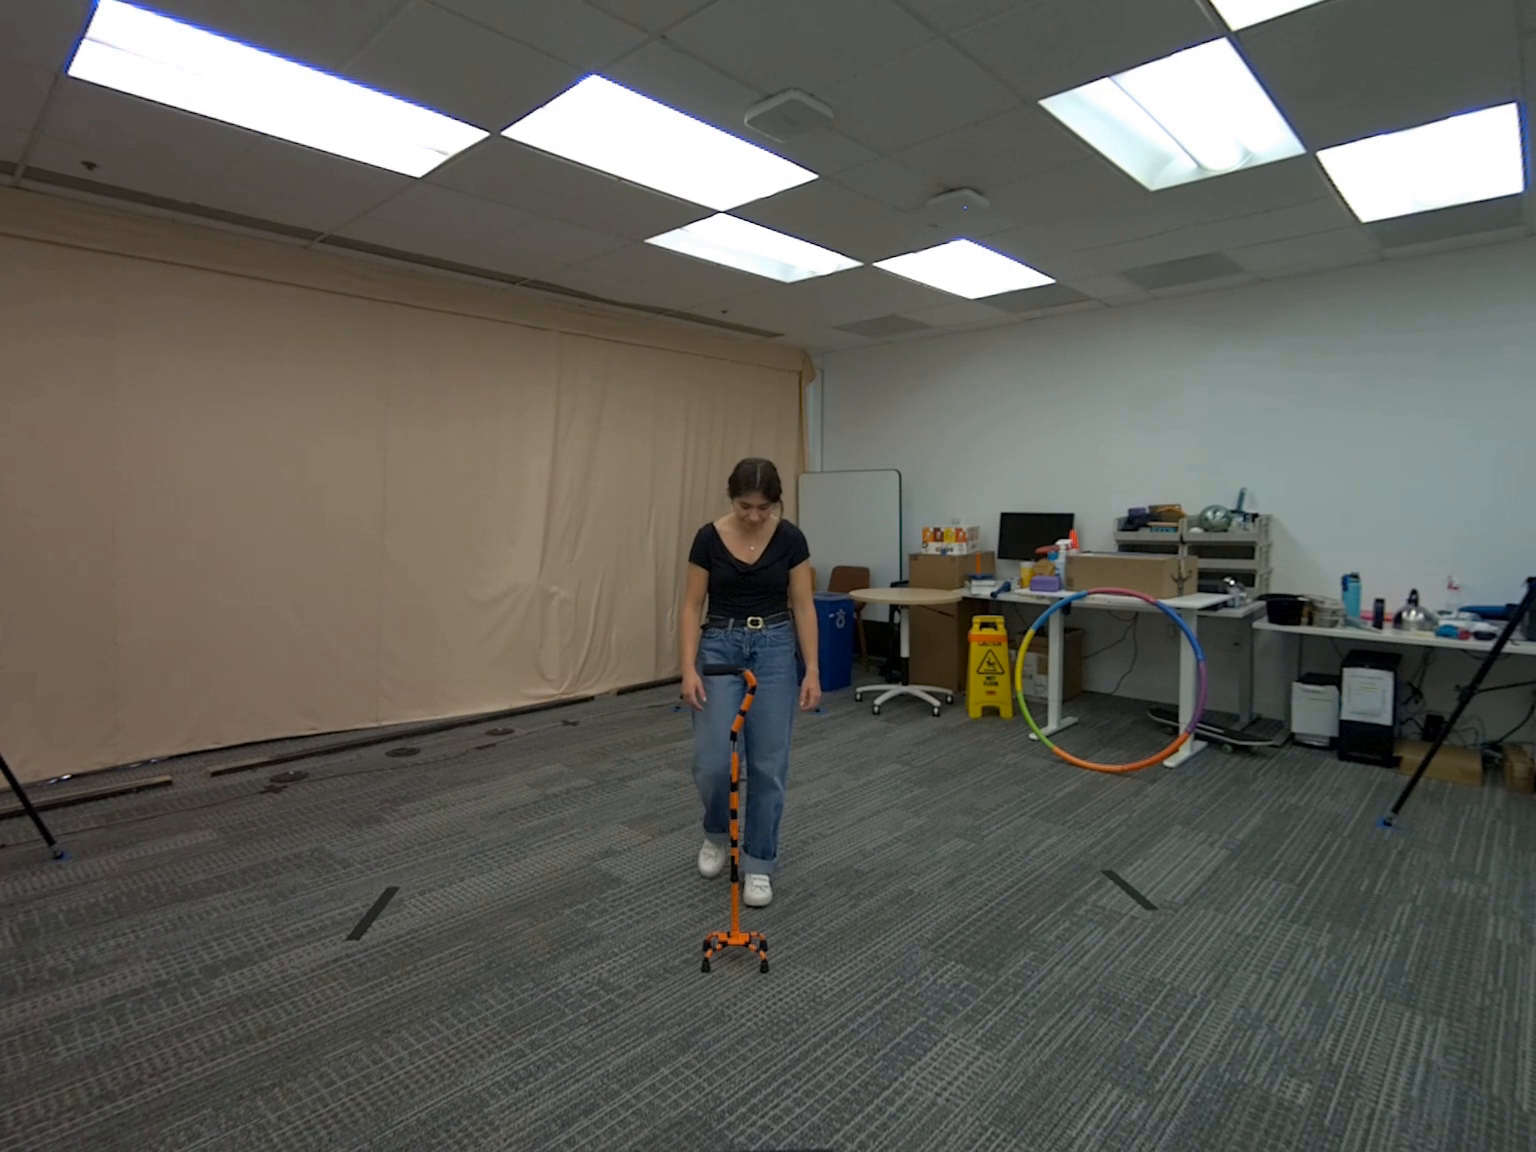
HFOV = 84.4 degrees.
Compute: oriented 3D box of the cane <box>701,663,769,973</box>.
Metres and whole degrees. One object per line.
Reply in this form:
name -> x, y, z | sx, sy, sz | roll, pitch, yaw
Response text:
cane -> -0.100, 0.723, 2.564 | 0.206, 0.906, 0.152 | 0, 2, -1
